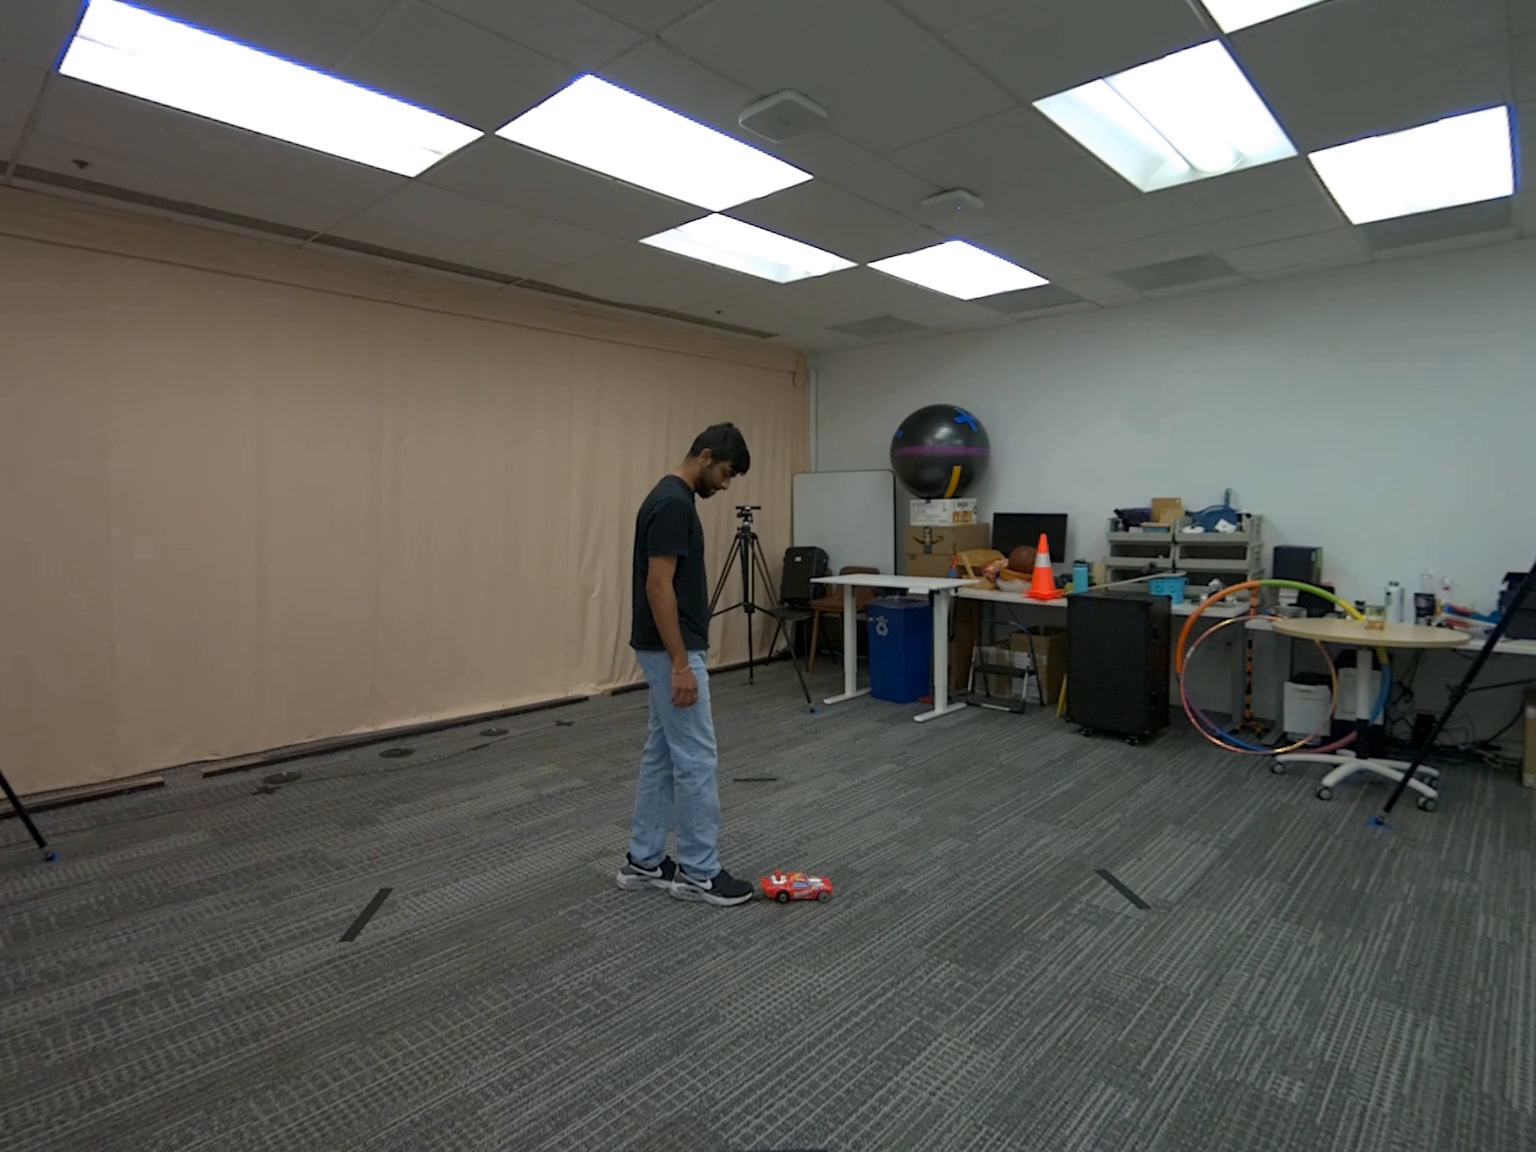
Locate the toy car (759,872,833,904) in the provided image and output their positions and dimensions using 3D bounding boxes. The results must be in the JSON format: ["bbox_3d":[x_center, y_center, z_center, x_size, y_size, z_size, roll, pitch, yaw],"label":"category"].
[{"bbox_3d":[0.096,1.114,2.992,0.254,0.083,0.131,12,4,-3],"label":"toy car"}]
